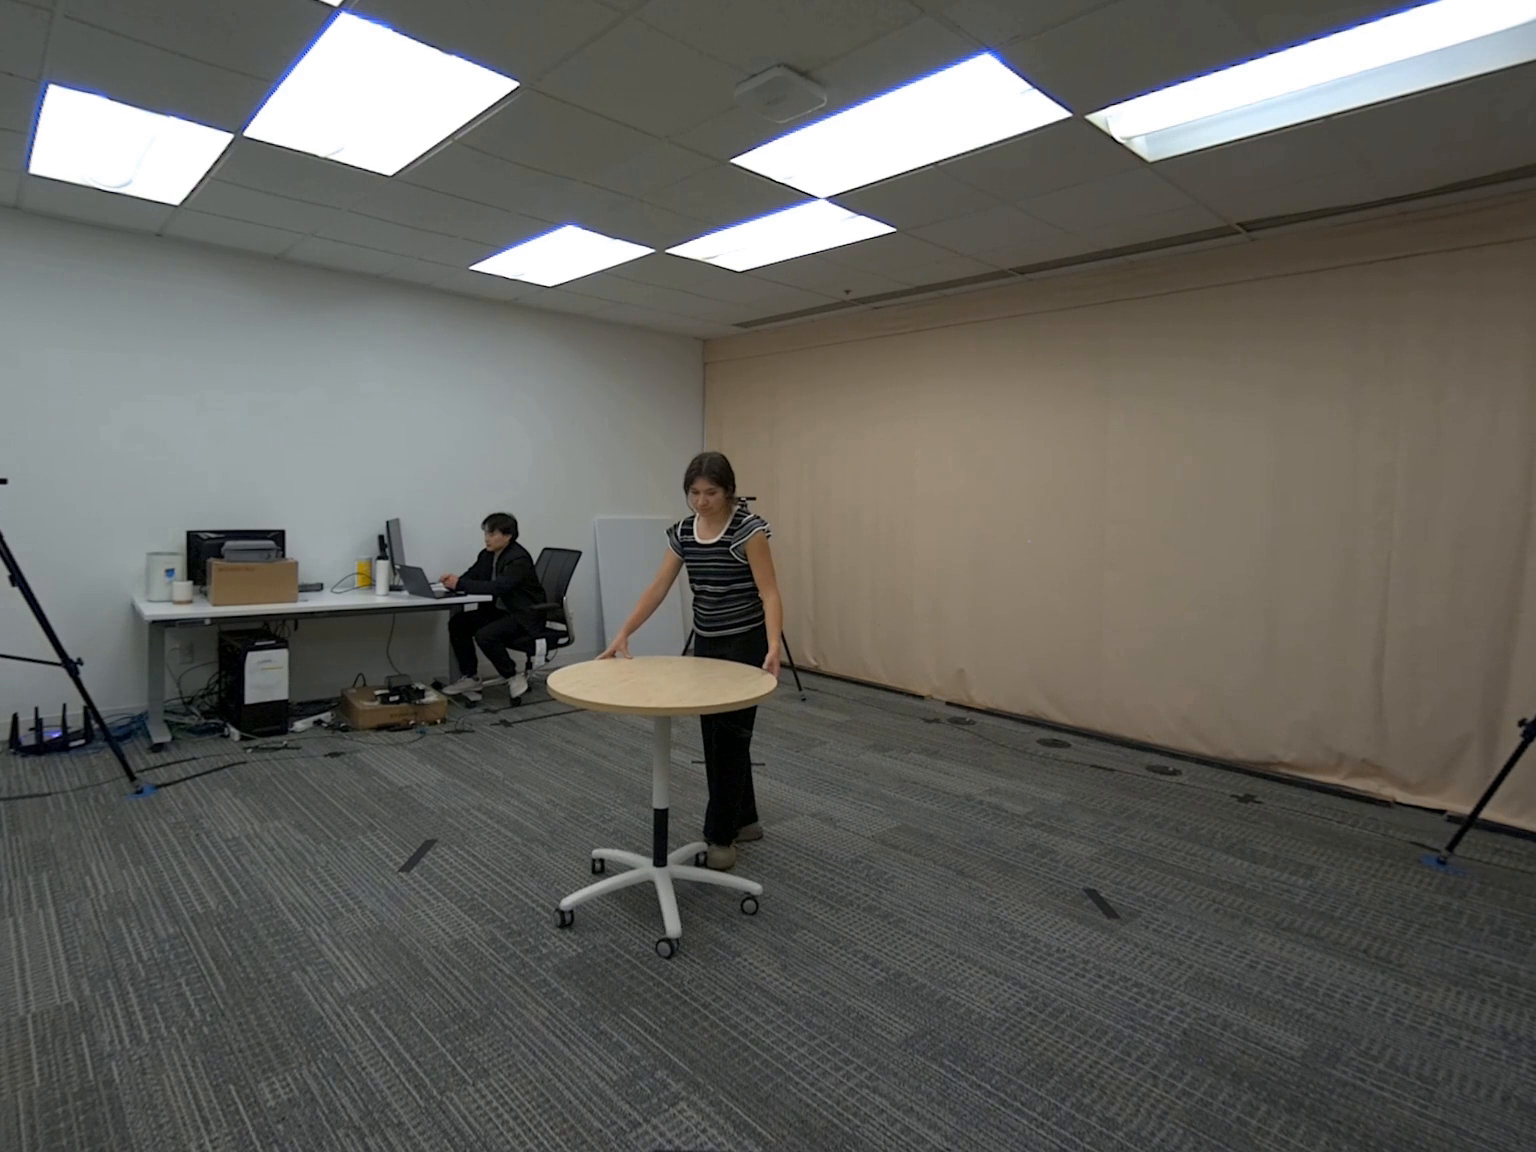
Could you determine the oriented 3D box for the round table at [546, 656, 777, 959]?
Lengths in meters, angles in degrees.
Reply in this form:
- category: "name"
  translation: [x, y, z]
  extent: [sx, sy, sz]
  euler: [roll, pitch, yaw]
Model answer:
- category: "round table"
  translation: [-0.360, 0.732, 2.842]
  extent: [0.784, 0.784, 0.788]
  euler: [1, 4, -1]
